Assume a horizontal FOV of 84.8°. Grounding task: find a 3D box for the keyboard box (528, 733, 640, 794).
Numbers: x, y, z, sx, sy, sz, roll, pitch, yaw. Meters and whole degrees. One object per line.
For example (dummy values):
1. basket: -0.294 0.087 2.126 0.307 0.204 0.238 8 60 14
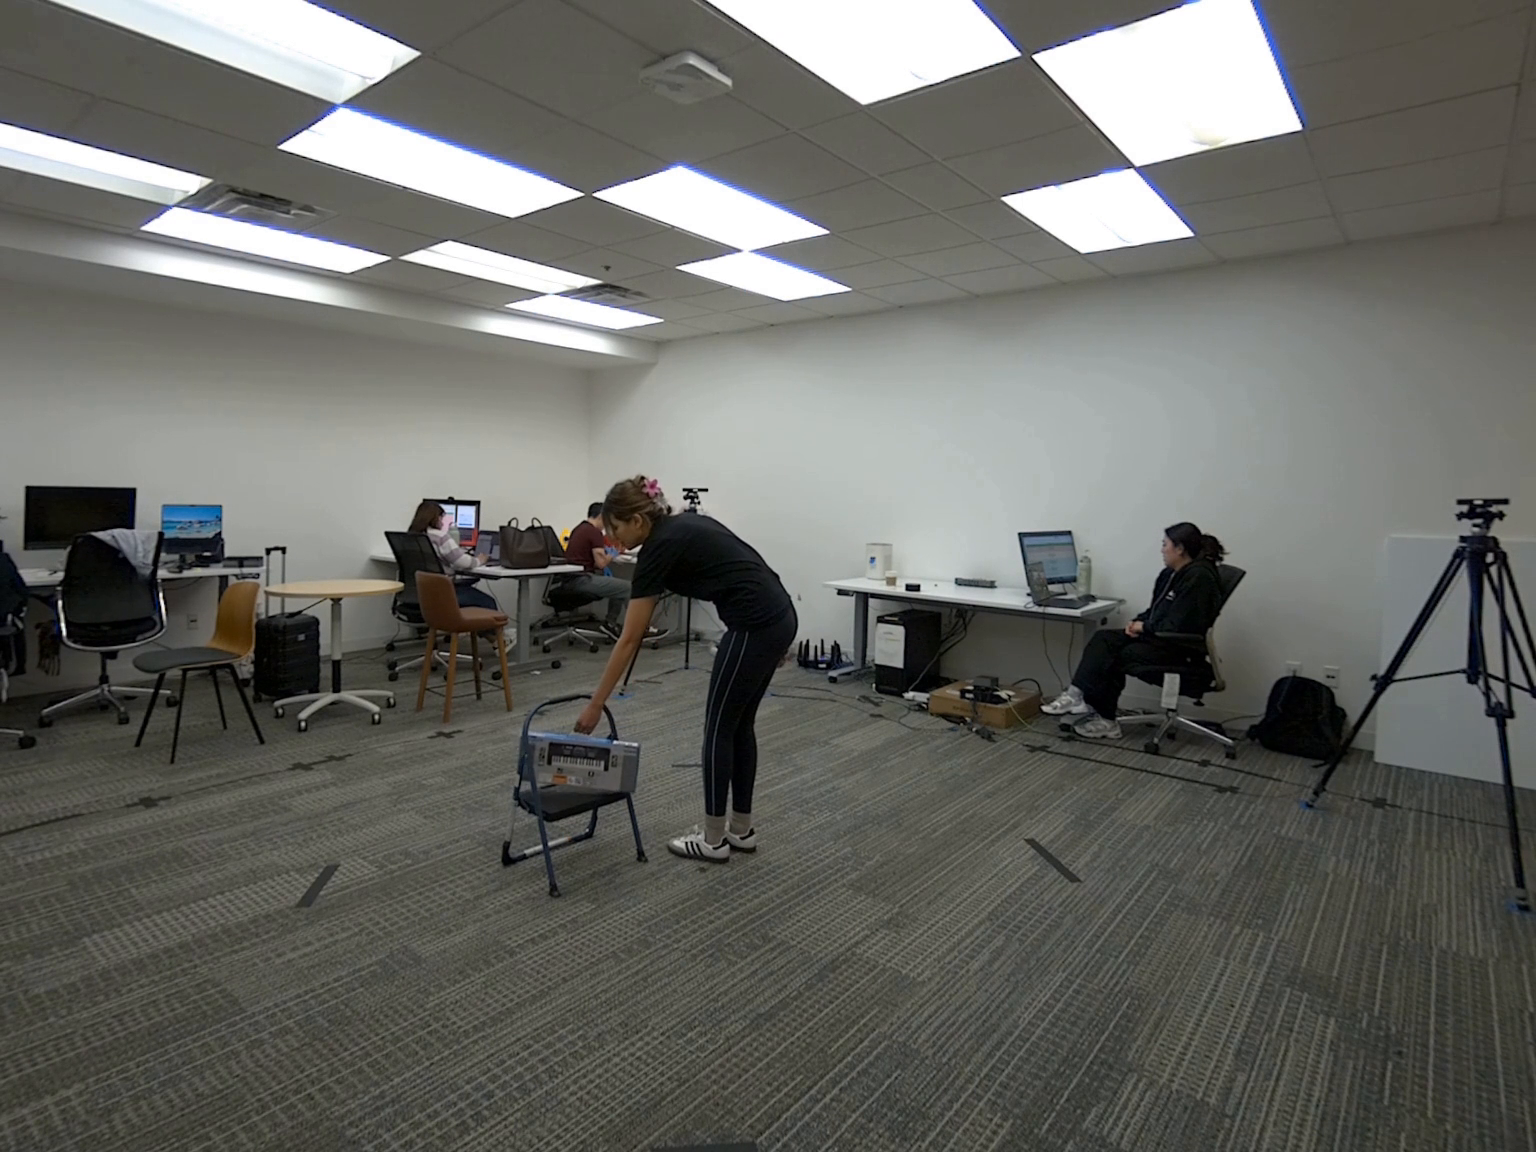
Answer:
1. keyboard box: -0.703 0.685 3.130 0.436 0.175 0.059 5 3 -1
